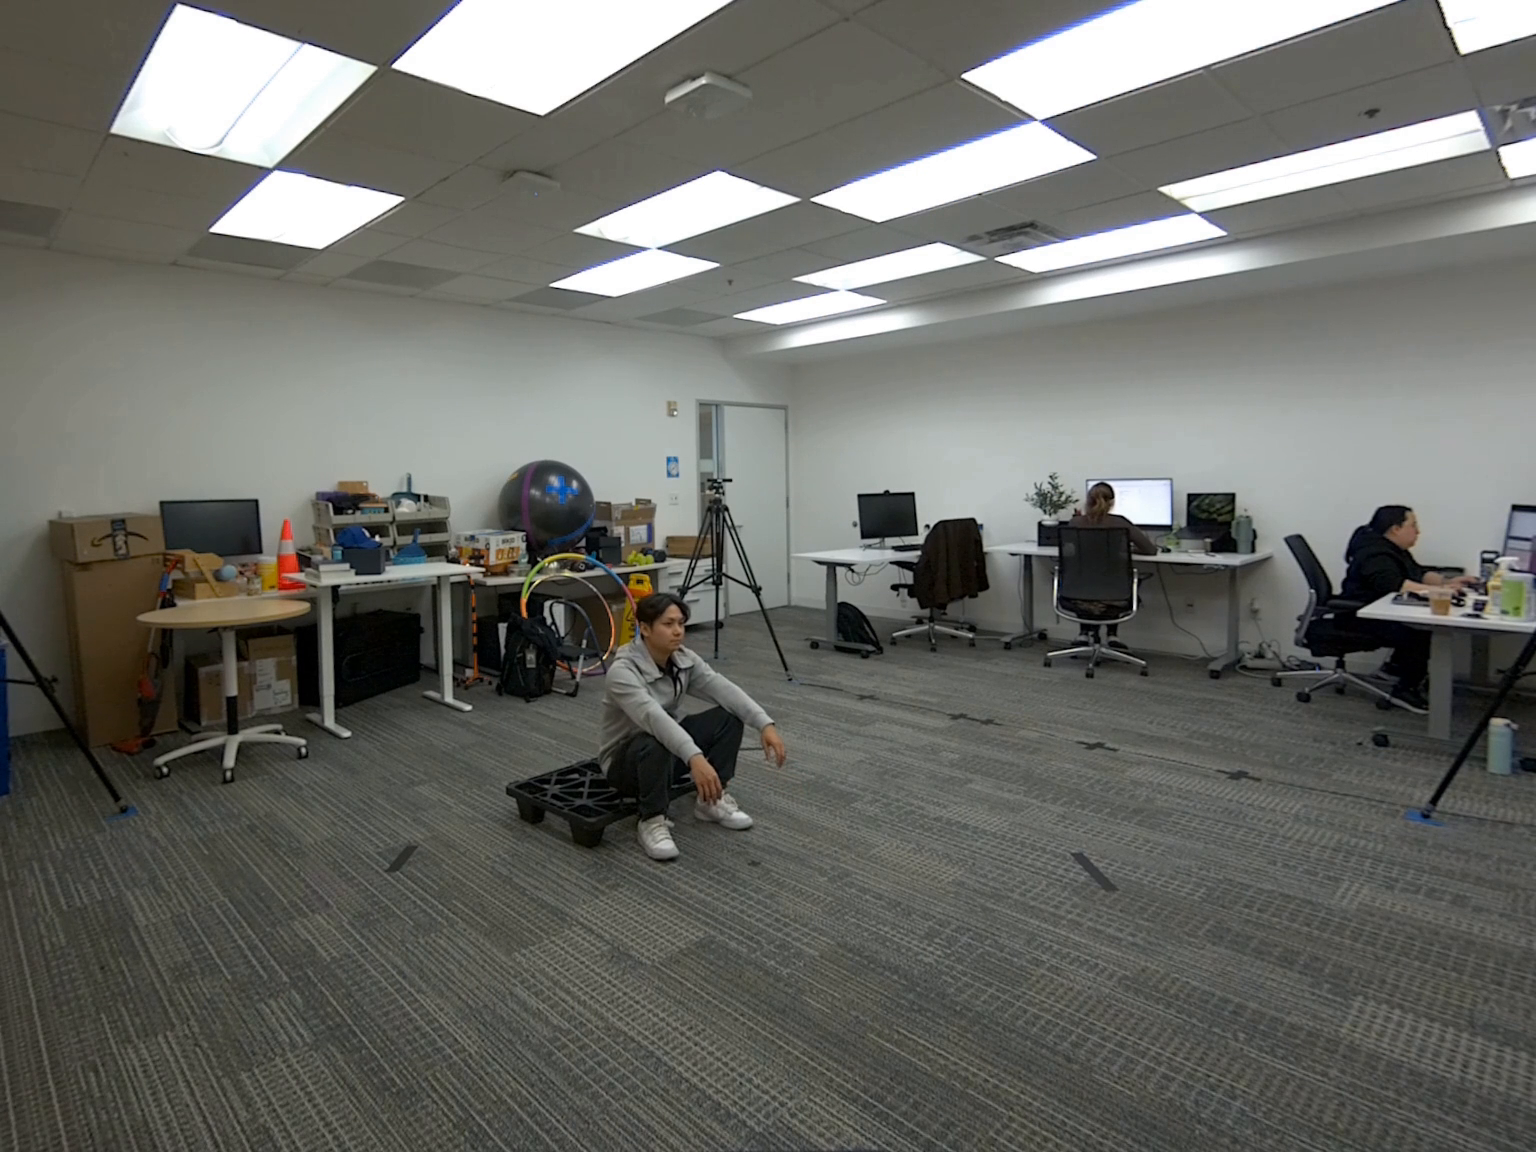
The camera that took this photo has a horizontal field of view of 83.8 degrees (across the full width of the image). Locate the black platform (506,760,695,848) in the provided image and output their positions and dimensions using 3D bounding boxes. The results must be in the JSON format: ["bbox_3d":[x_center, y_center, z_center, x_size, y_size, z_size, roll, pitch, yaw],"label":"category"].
[{"bbox_3d":[-0.614,0.924,3.669,0.624,0.142,0.785,5,9,41],"label":"black platform"}]
